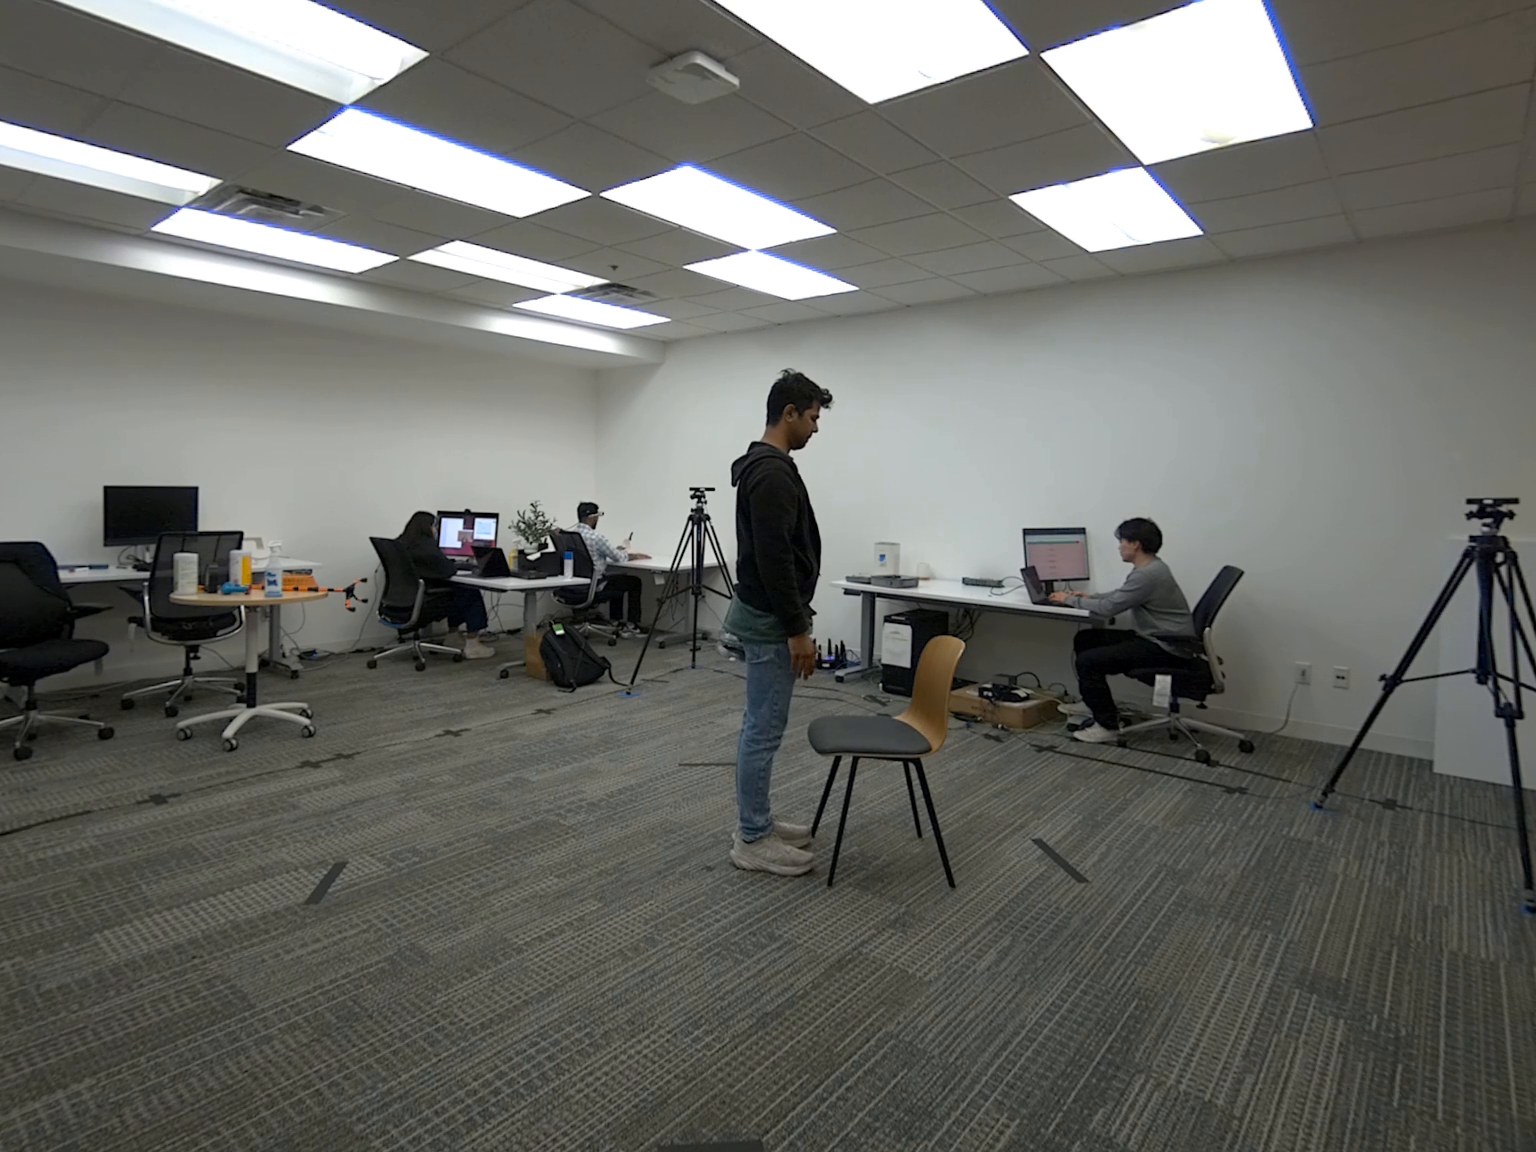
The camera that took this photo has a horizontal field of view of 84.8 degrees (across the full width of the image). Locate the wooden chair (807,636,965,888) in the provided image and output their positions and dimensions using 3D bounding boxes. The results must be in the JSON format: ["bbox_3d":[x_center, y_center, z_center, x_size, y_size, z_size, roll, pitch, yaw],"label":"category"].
[{"bbox_3d":[0.411,0.645,3.180,0.521,0.874,0.482,5,4,-4],"label":"wooden chair"}]
